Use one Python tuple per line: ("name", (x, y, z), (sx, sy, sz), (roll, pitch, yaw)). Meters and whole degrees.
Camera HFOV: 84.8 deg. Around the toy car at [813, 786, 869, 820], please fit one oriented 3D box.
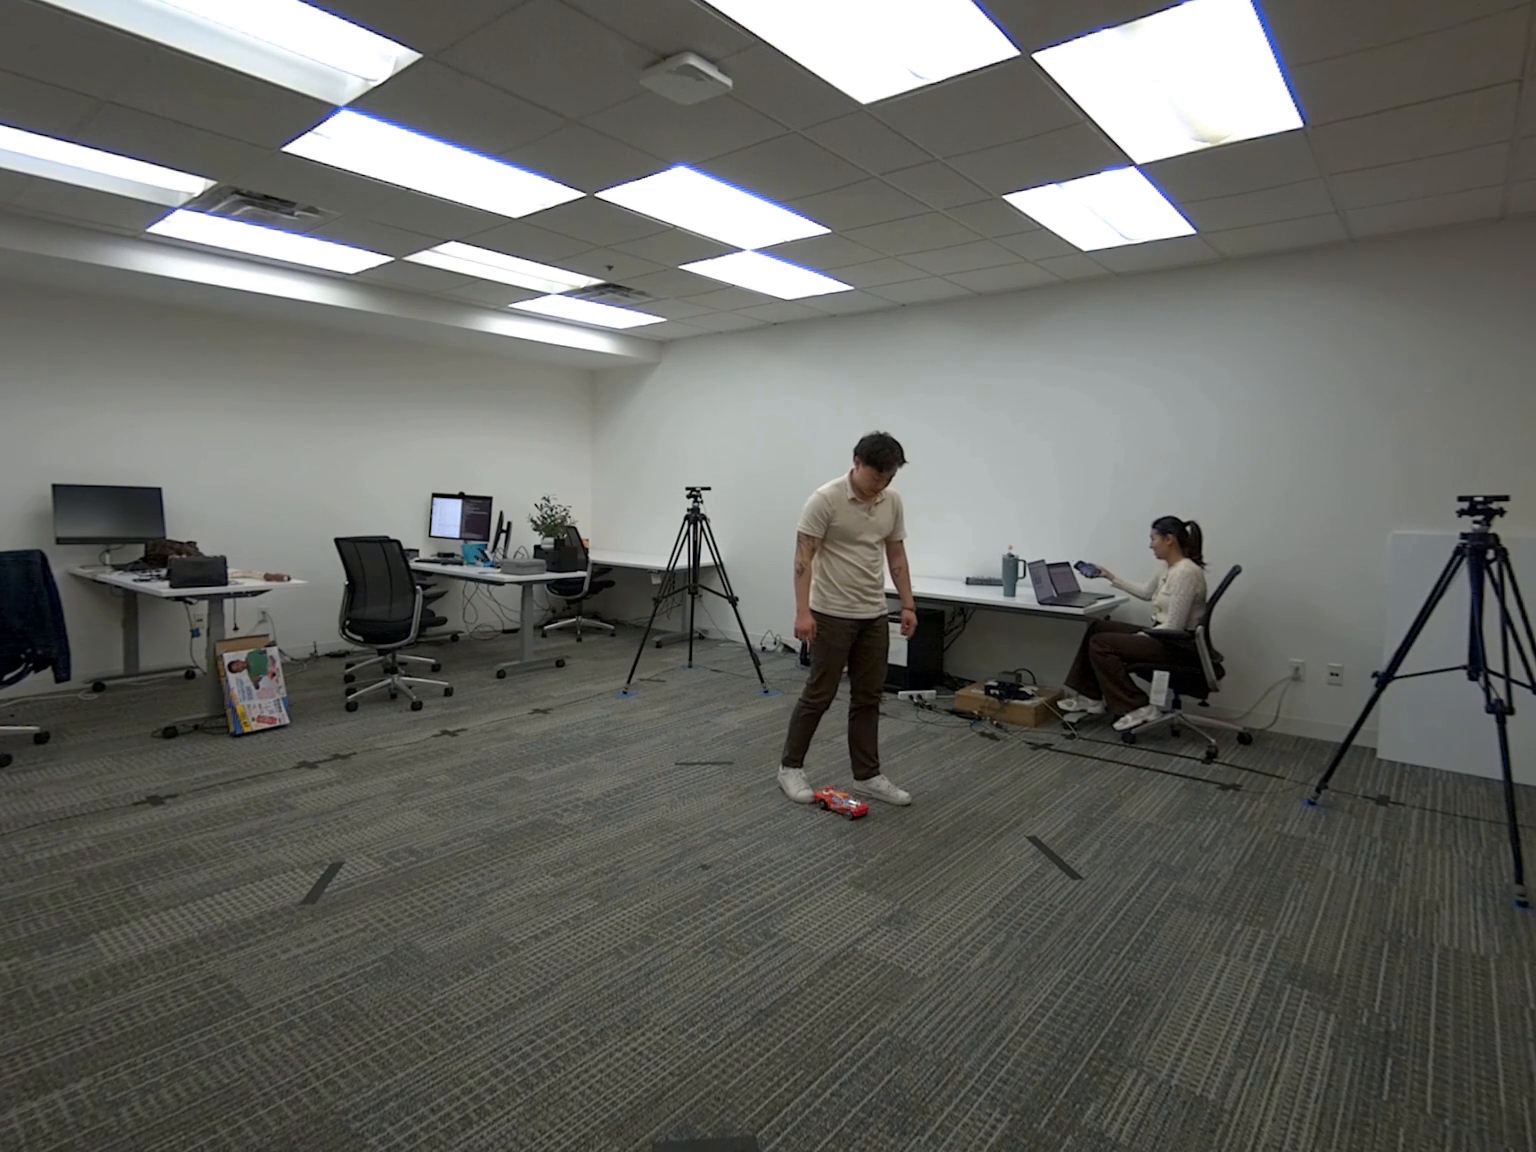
("toy car", (0.308, 0.984, 3.707), (0.126, 0.082, 0.265), (-2, 16, -42))
